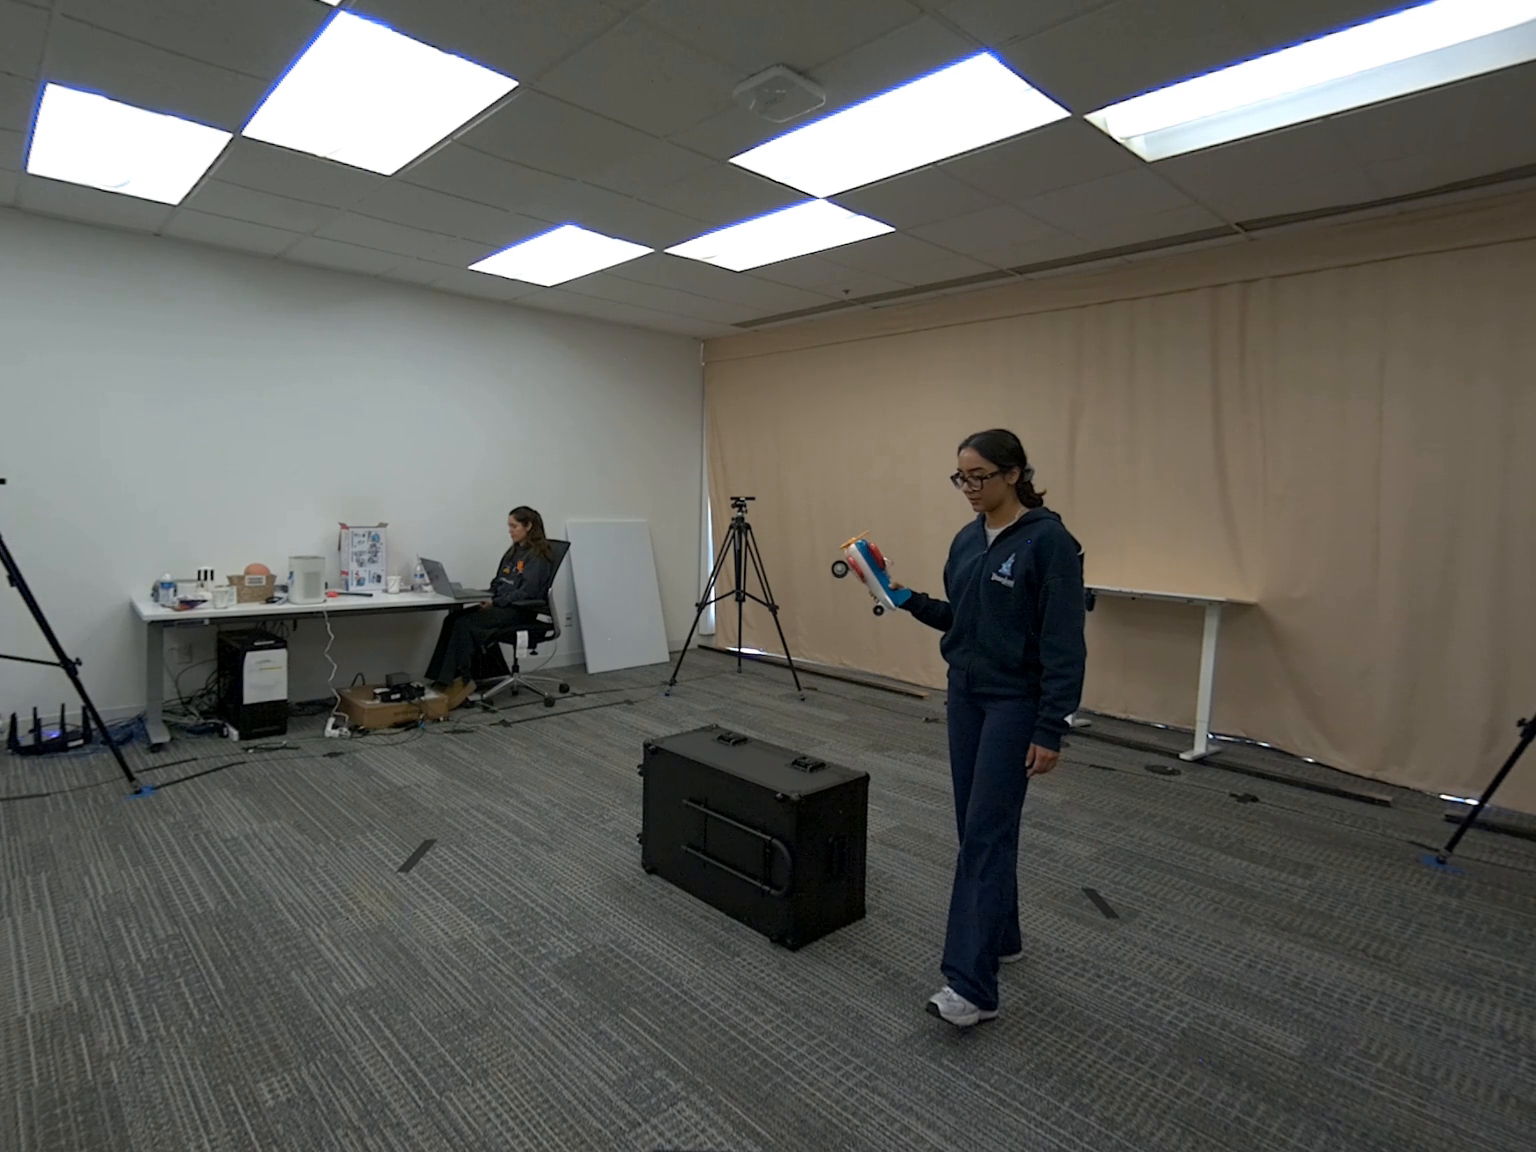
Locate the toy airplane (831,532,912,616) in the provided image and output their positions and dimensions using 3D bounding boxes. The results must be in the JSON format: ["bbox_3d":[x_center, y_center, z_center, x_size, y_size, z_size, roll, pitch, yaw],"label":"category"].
[{"bbox_3d":[0.307,-0.001,2.682,0.254,0.156,0.256,42,4,-22],"label":"toy airplane"}]
